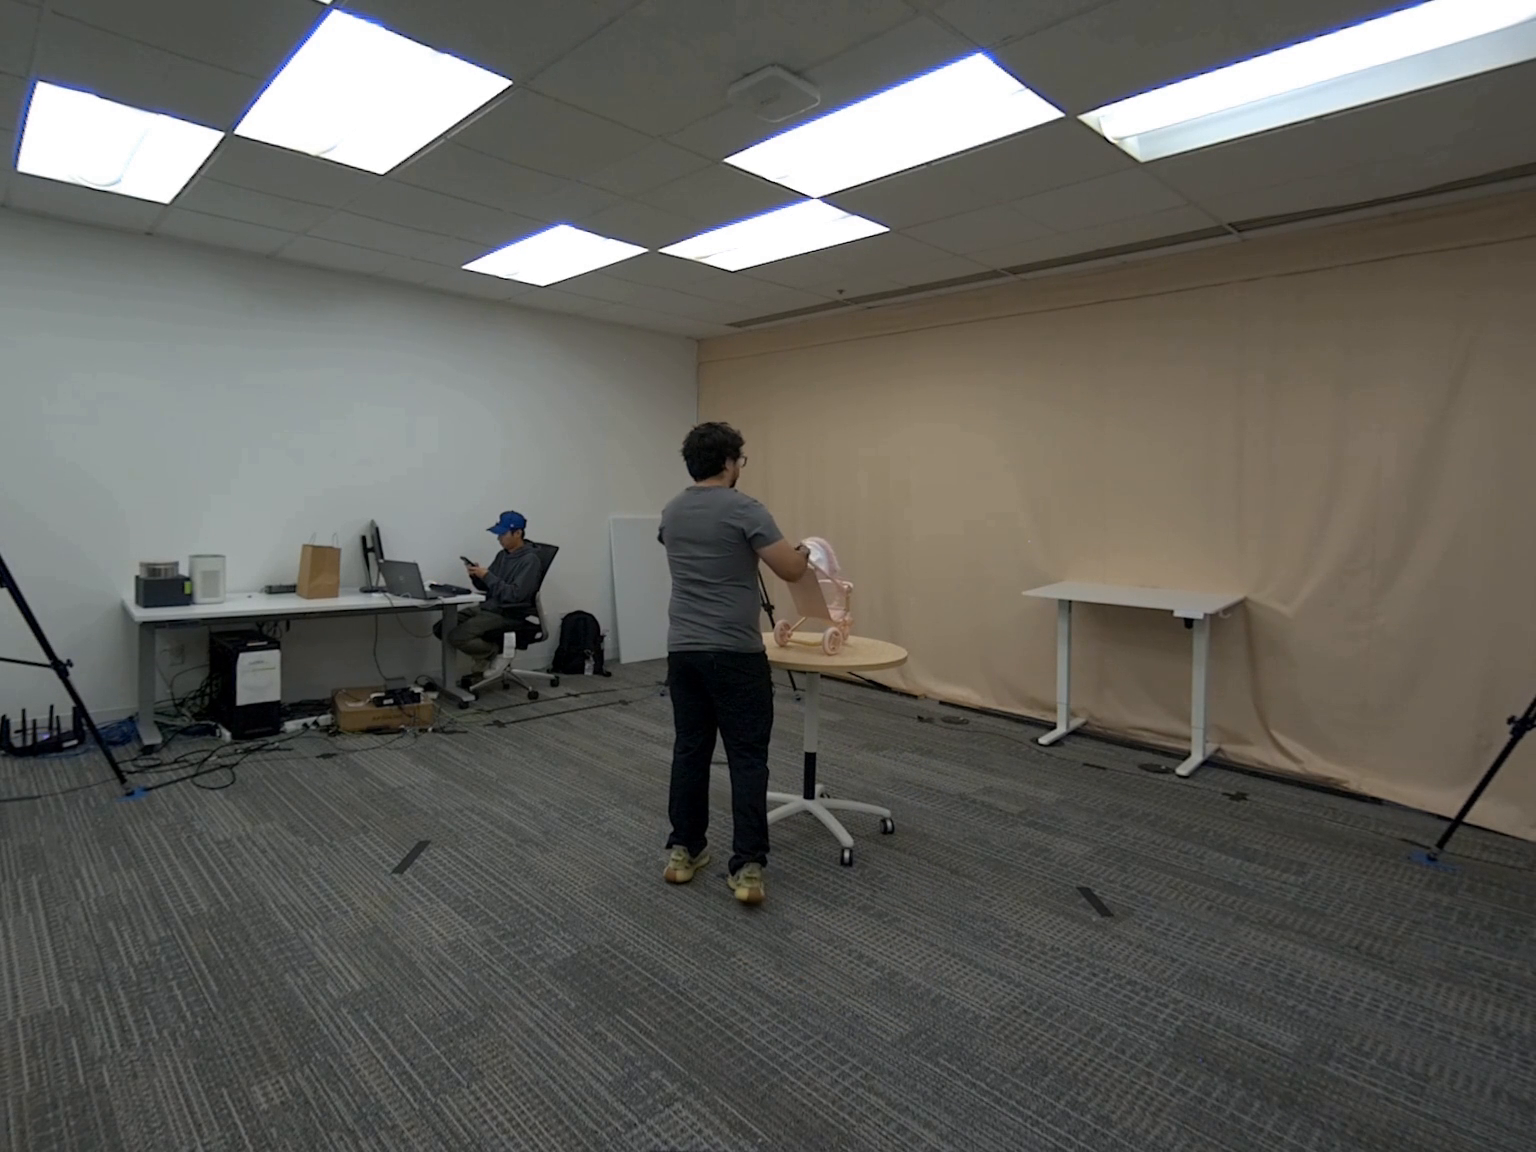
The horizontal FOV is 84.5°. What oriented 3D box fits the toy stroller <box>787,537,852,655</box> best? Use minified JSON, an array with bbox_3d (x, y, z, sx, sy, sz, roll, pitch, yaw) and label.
[{"bbox_3d":[0.194,0.078,3.457,0.289,0.528,0.337,7,23,44],"label":"toy stroller"}]
